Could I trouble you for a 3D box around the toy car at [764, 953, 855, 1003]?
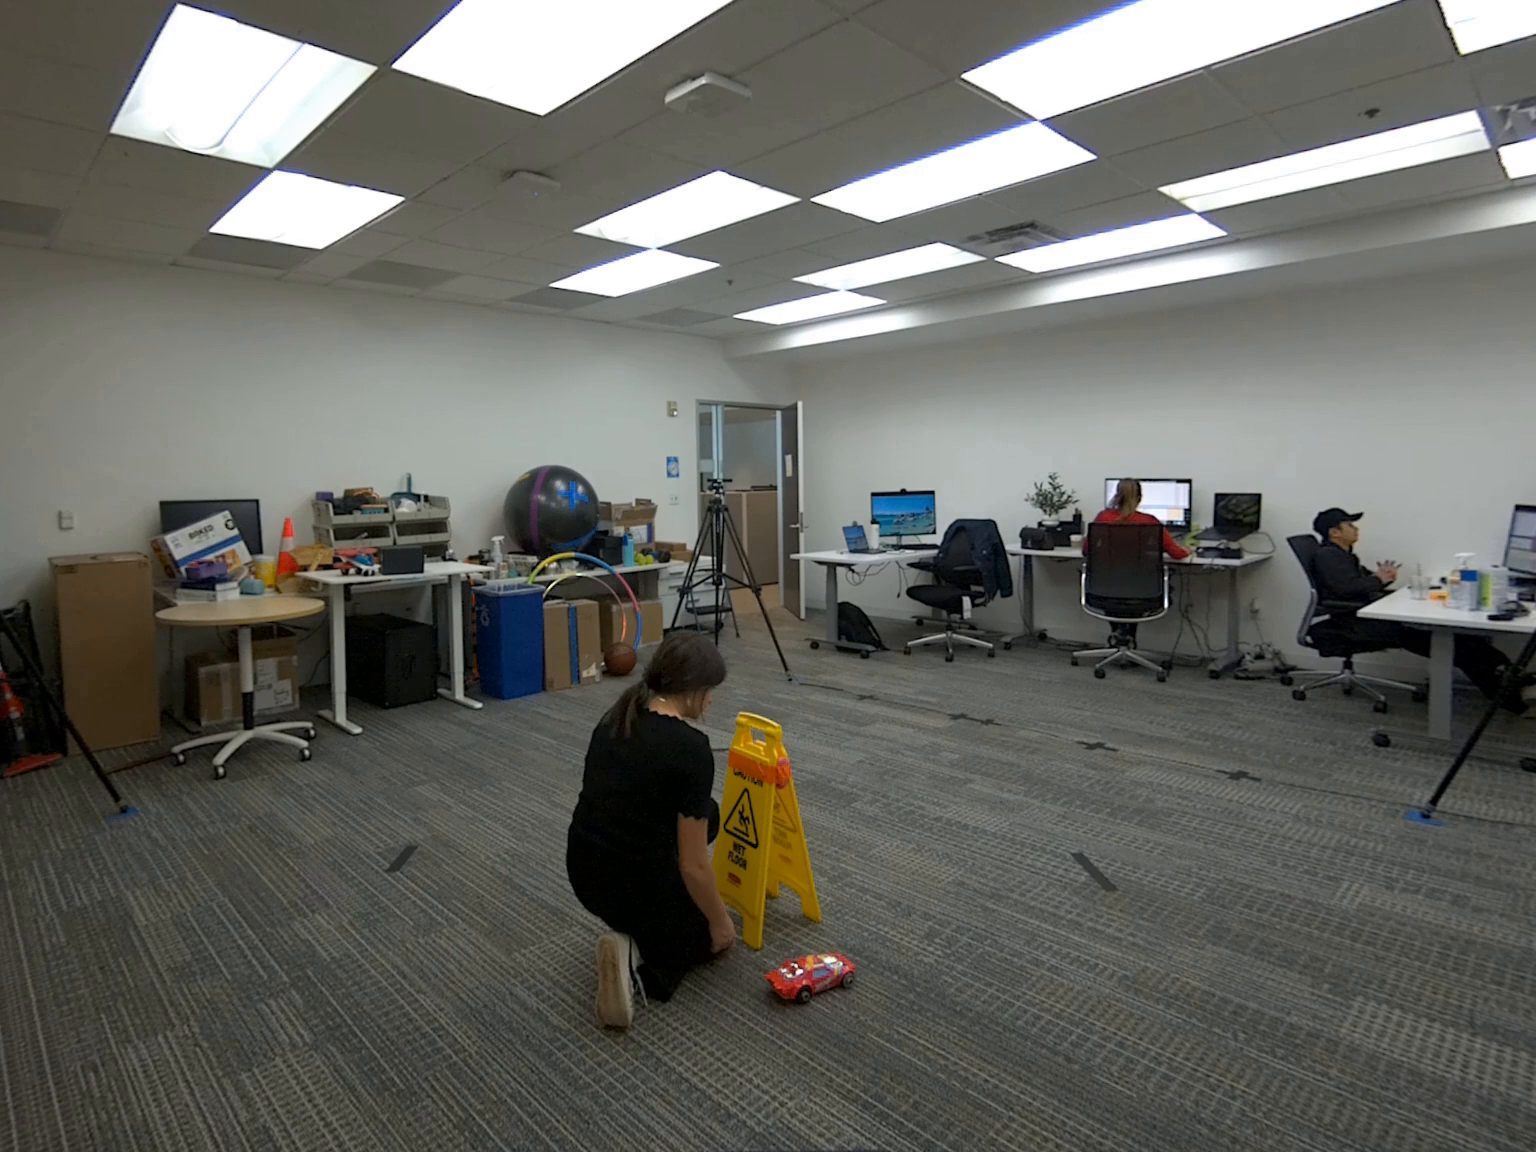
[{"bbox_3d":[0.107,1.095,2.344,0.248,0.083,0.134,8,1,-27],"label":"toy car"}]
